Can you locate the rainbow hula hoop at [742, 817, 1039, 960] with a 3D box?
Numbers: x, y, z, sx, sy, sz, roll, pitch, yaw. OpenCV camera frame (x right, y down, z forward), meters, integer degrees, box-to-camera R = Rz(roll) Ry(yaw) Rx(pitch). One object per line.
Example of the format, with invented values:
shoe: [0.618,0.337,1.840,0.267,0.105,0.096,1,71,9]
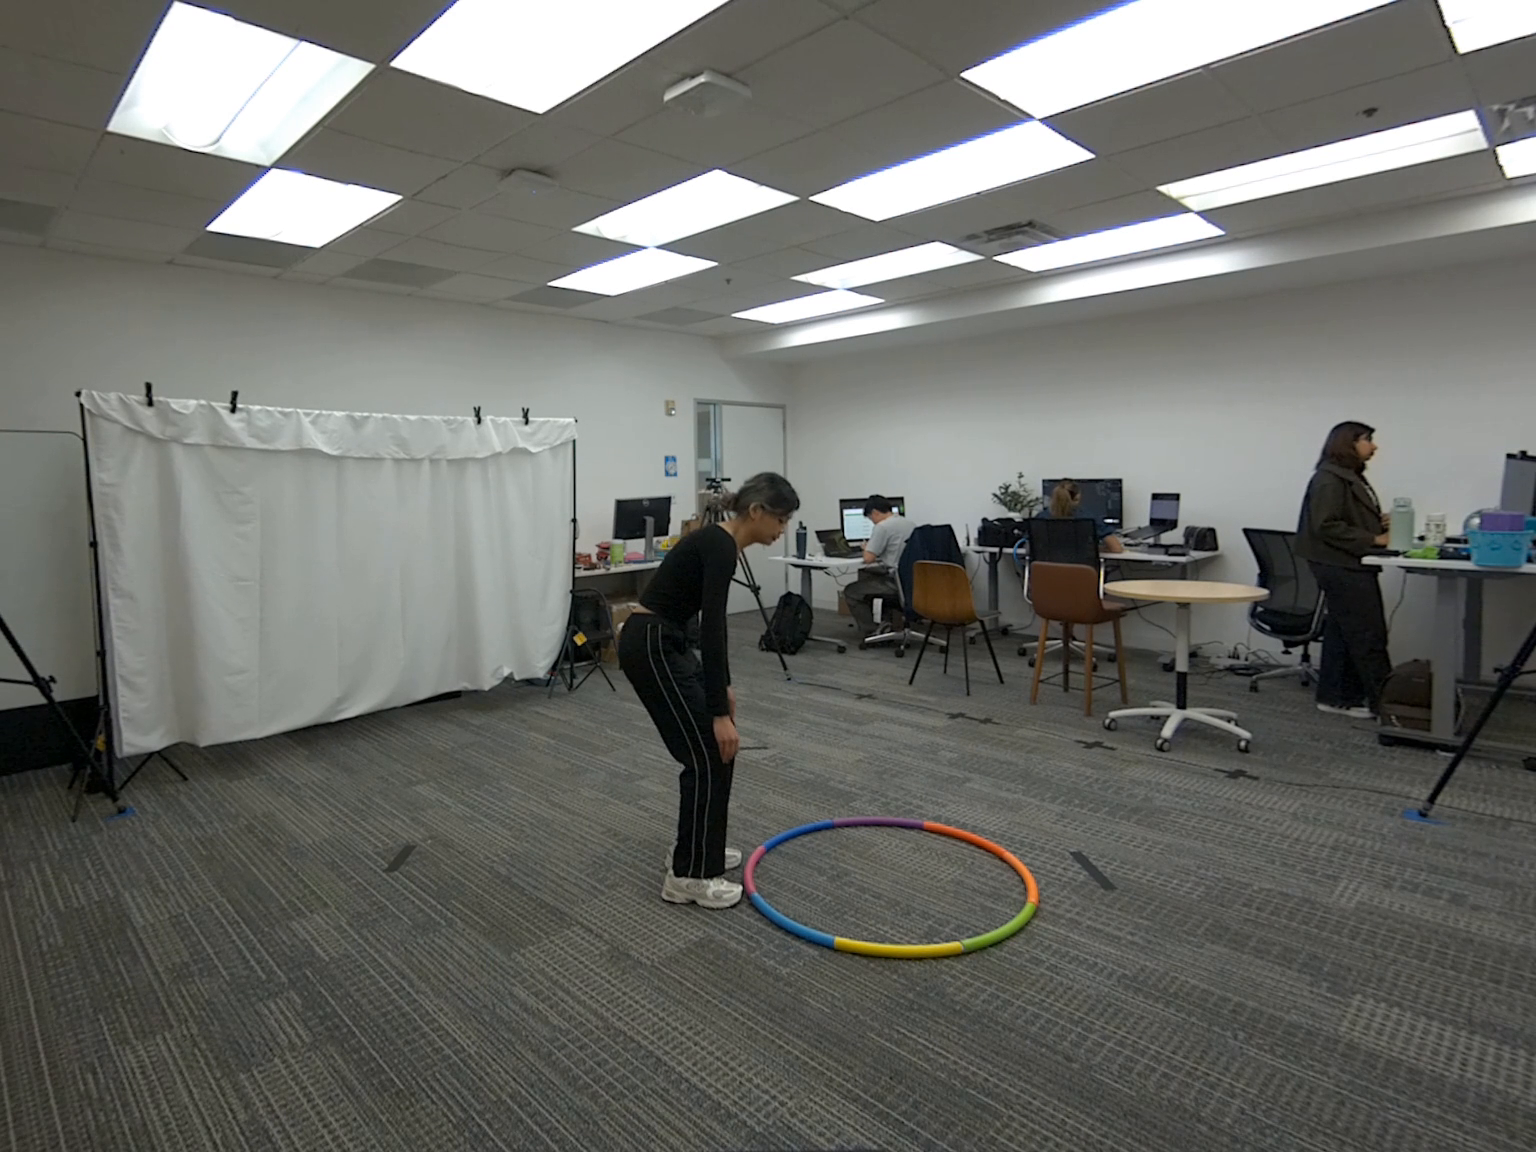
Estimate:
rainbow hula hoop: [0.403,1.024,2.951,0.978,0.035,0.984,-2,7,-1]
